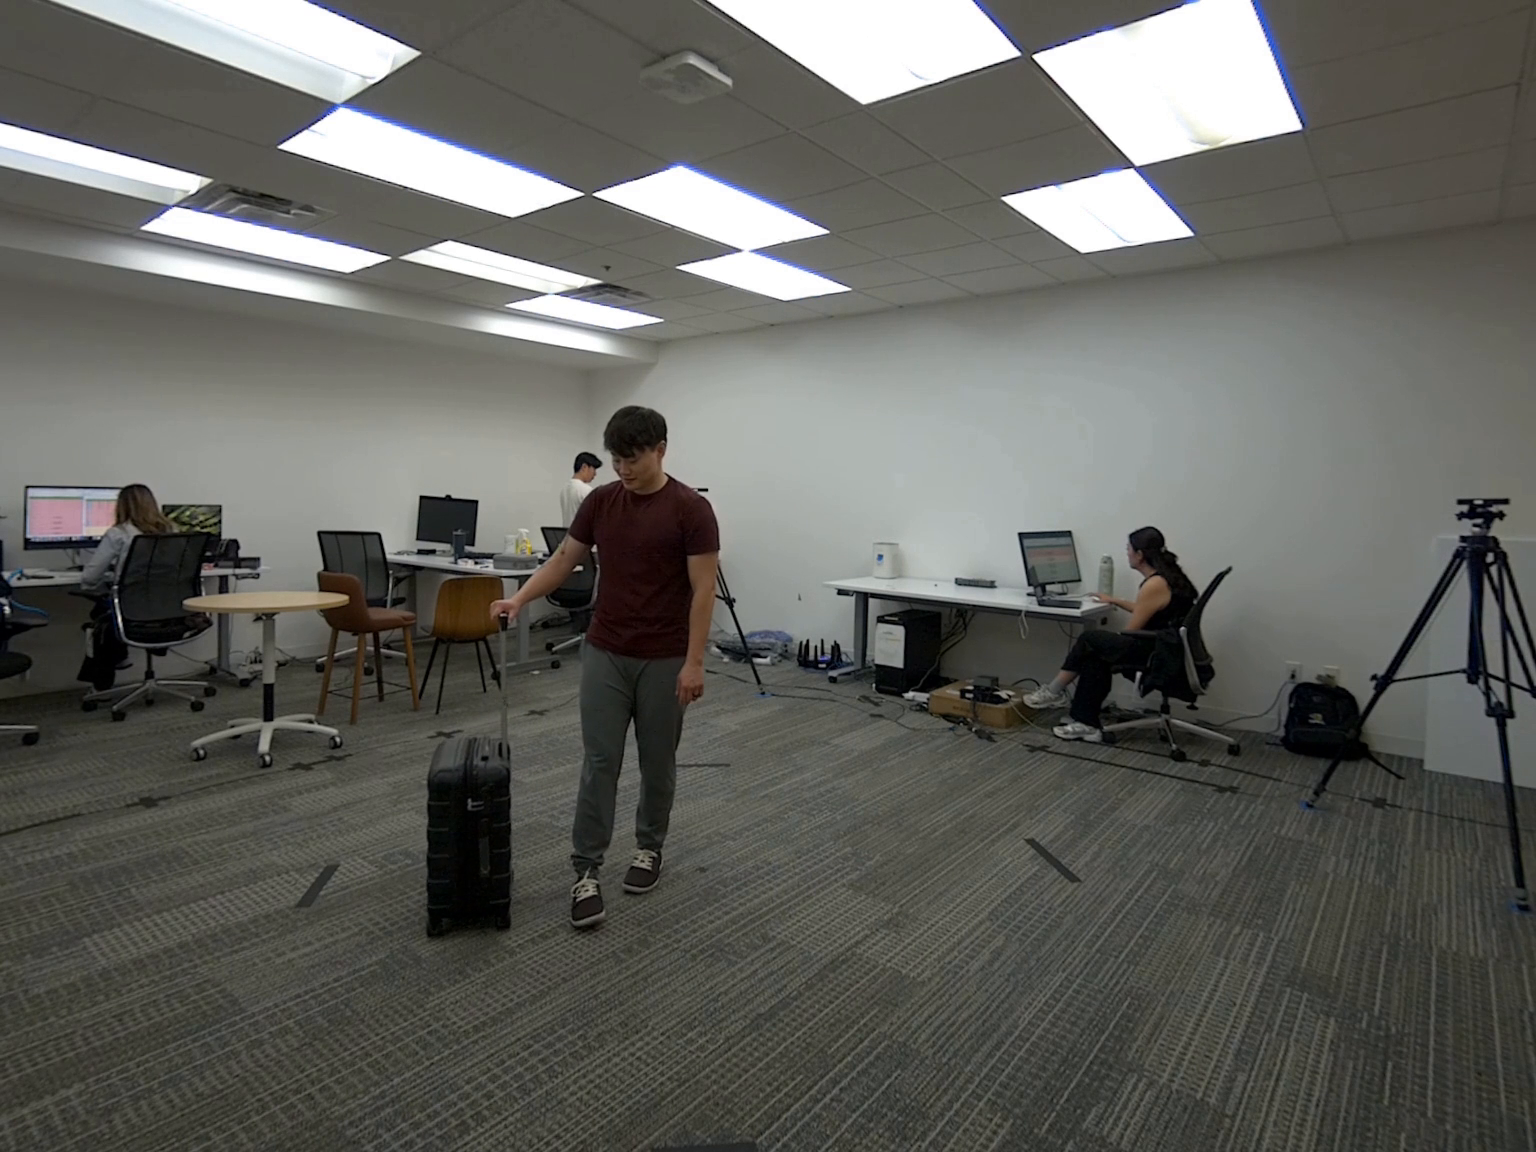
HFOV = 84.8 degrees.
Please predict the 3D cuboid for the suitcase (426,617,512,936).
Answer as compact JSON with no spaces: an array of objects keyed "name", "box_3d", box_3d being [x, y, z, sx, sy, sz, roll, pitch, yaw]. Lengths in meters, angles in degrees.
[{"name":"suitcase","box_3d":[-0.968,0.618,2.741,0.254,0.974,0.389,-1,5,-10]}]
